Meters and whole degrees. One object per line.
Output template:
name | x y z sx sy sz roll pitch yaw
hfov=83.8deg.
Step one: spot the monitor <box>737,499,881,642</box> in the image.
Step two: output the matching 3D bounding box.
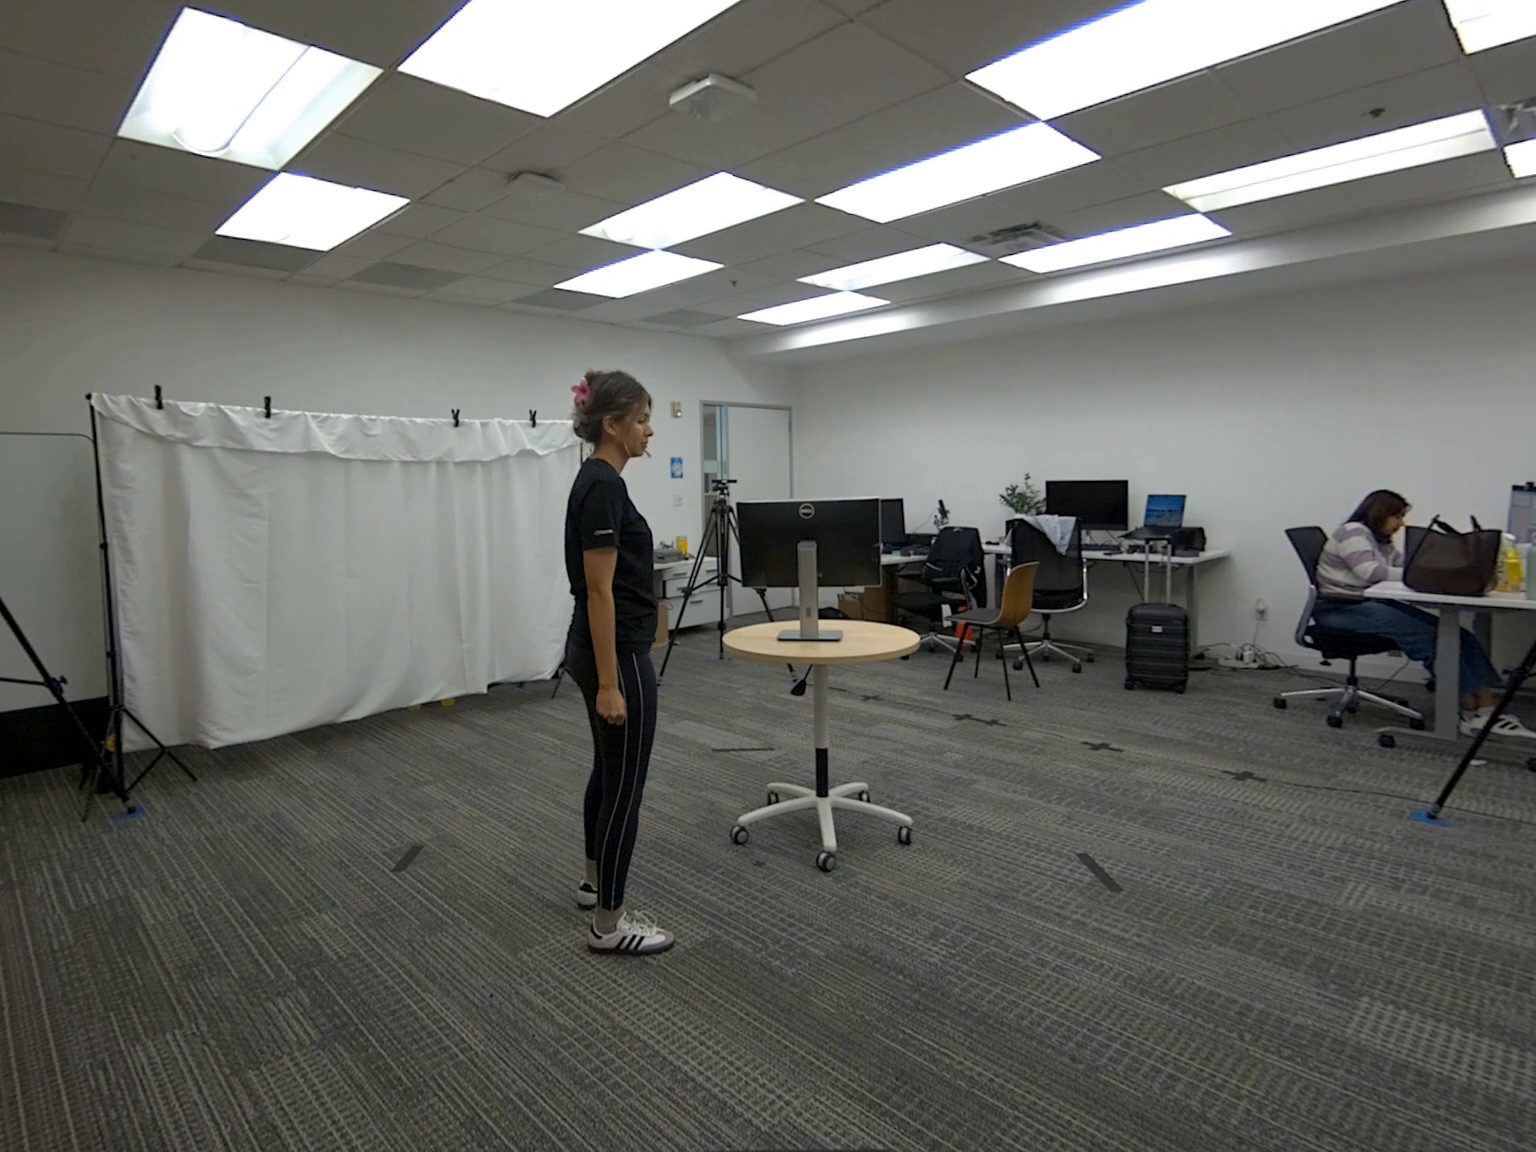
monitor | 0.157 -0.024 3.331 0.543 0.521 0.186 -1 4 8
